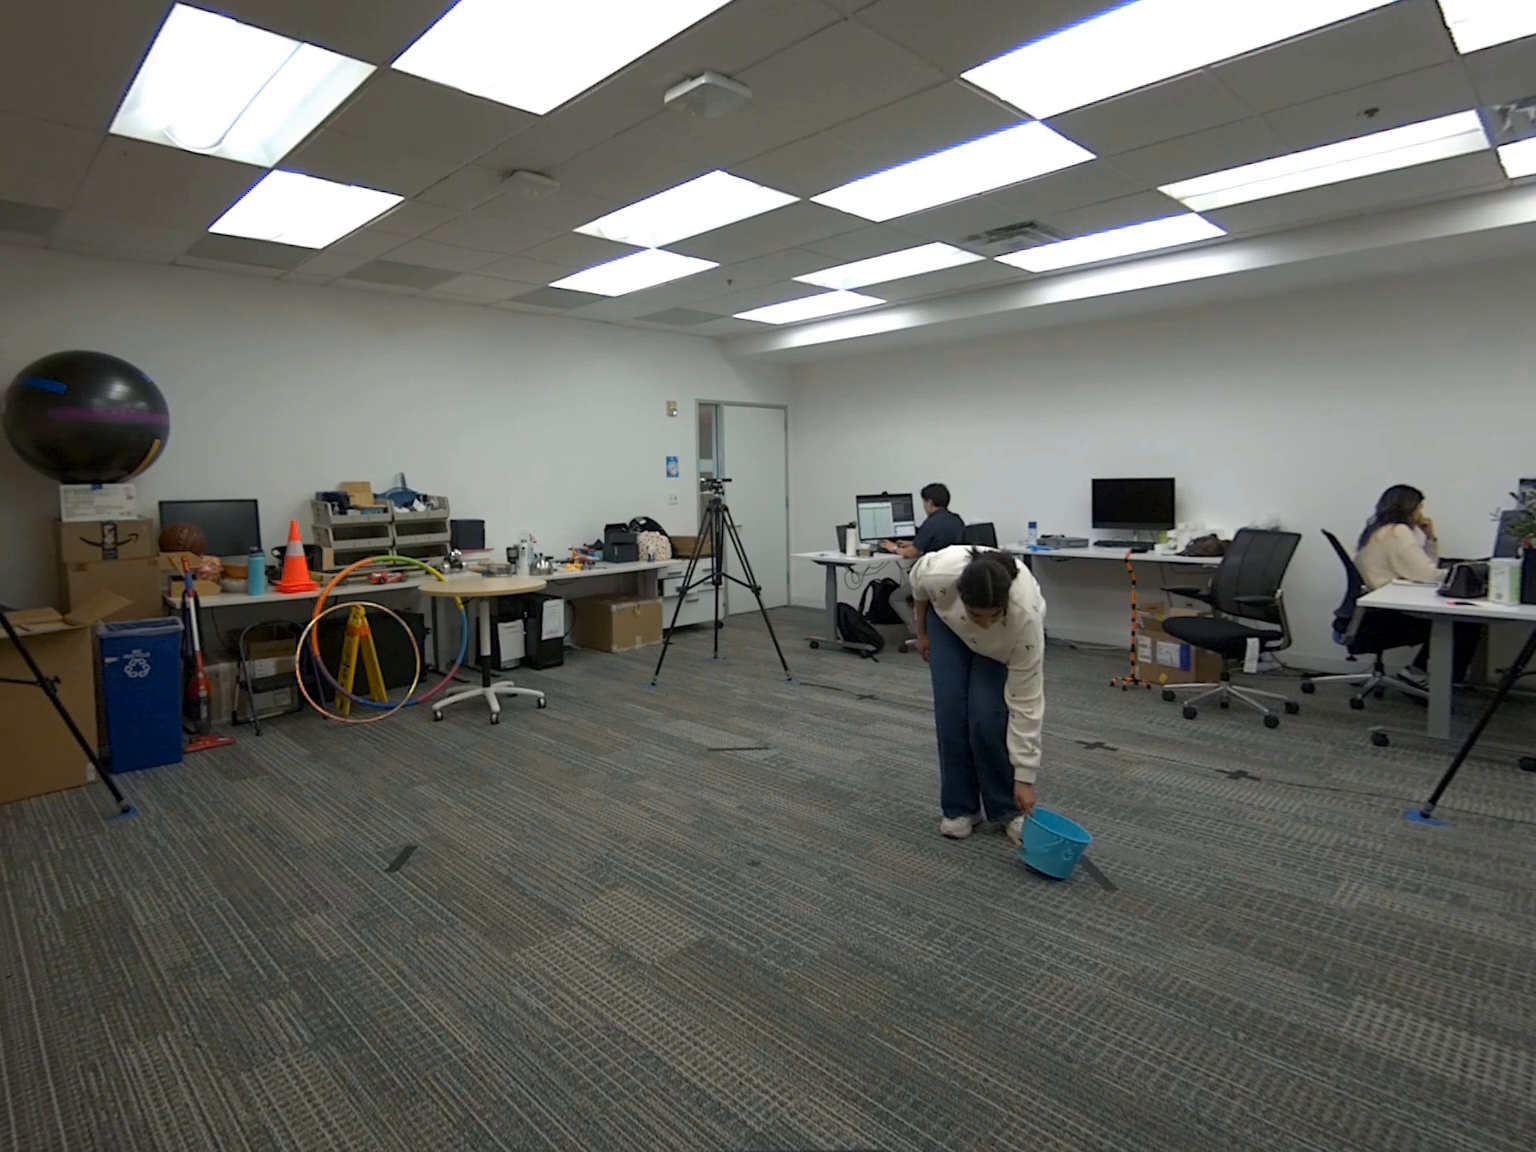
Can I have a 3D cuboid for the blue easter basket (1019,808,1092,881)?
[{"bbox_3d":[0.986,0.936,2.995,0.243,0.155,0.246,15,9,-4],"label":"blue easter basket"}]
